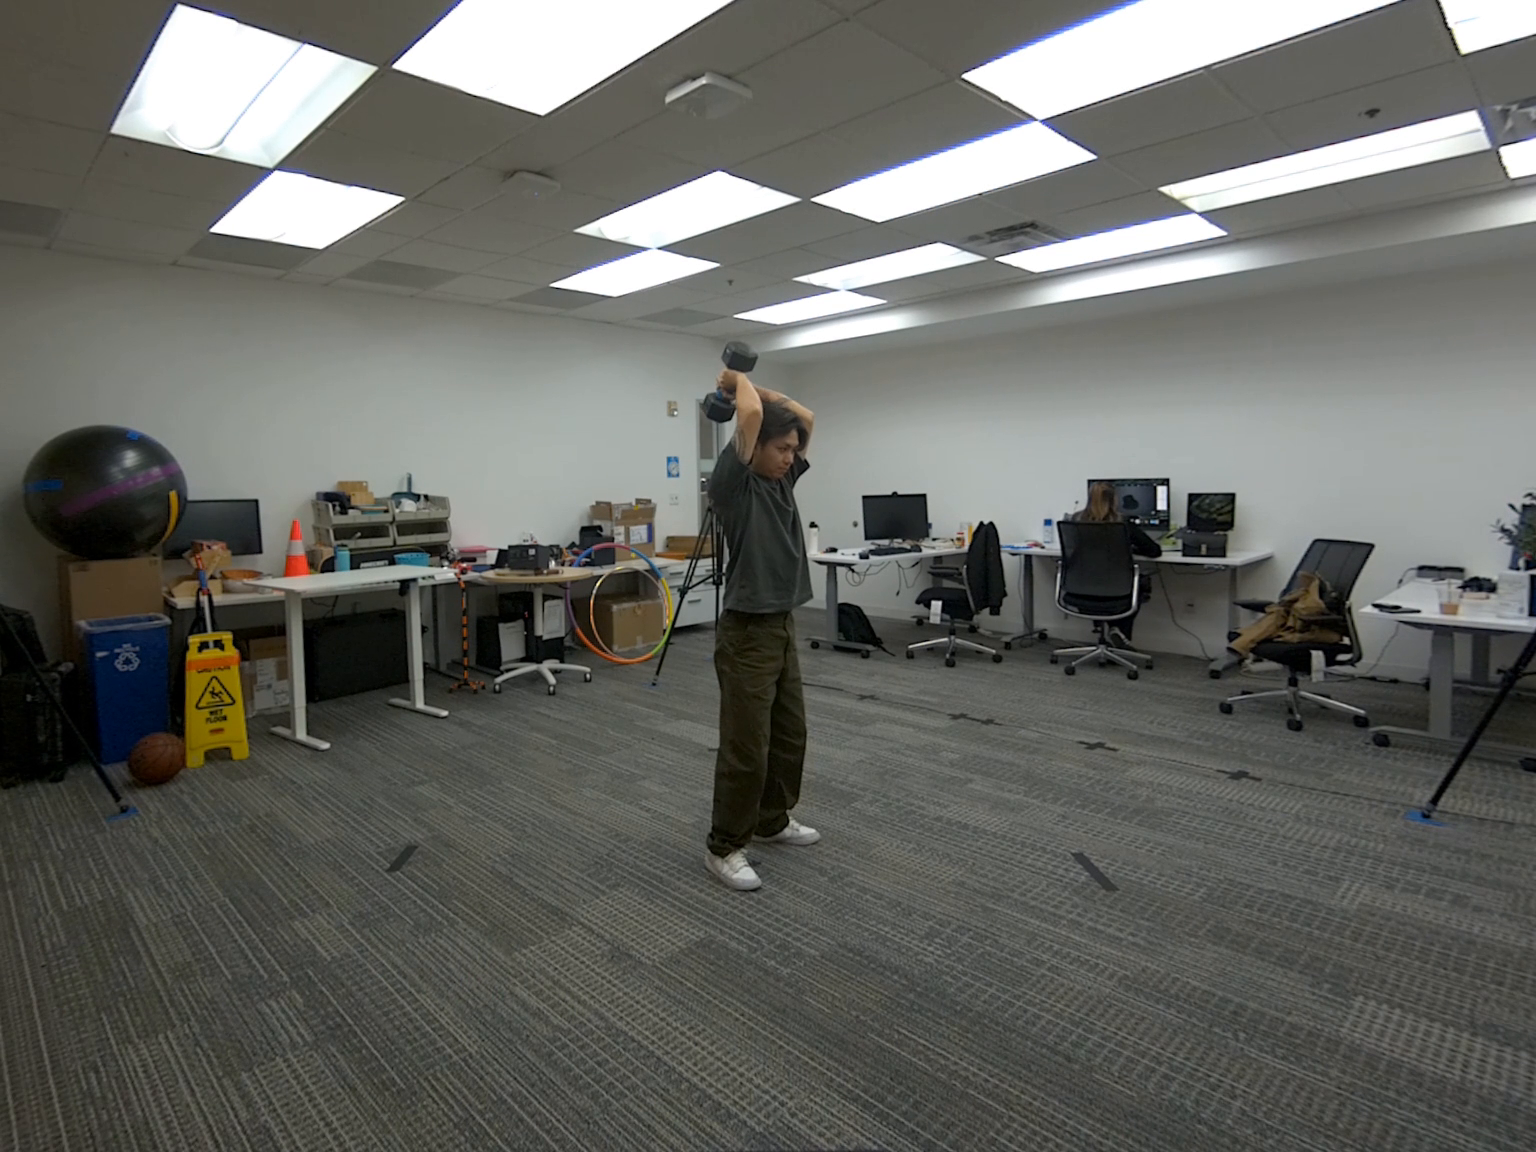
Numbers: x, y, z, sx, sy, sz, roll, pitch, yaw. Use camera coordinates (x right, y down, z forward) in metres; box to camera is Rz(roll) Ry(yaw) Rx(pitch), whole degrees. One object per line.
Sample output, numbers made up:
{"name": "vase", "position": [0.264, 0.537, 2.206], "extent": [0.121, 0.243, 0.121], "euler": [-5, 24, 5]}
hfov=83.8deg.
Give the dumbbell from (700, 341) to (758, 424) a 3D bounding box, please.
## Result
{"name": "dumbbell", "position": [-0.134, -0.710, 3.123], "extent": [0.106, 0.290, 0.127], "euler": [8, 37, -28]}
